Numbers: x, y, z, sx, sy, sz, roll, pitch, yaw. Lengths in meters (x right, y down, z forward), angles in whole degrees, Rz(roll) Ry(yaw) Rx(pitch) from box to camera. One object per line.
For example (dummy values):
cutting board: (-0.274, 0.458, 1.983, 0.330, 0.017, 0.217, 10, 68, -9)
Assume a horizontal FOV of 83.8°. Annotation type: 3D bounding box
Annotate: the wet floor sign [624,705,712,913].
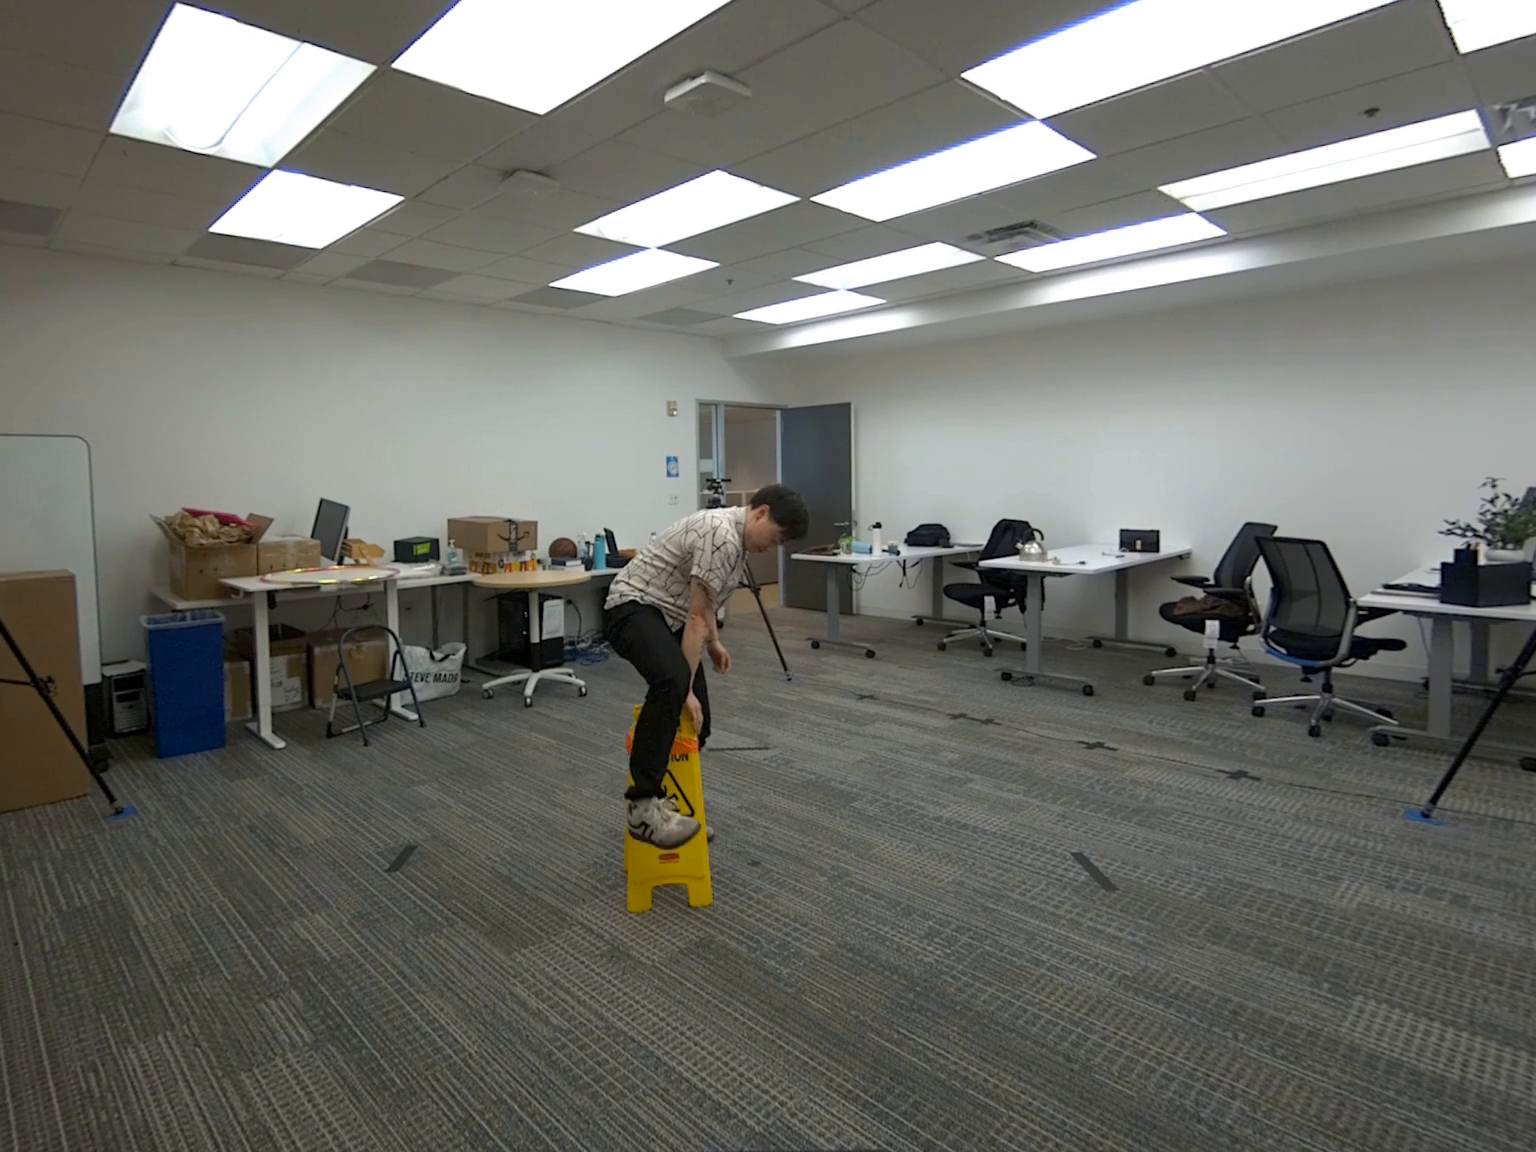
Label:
wet floor sign: (-0.354, 0.747, 2.915, 0.280, 0.643, 0.293, -3, 5, -10)
